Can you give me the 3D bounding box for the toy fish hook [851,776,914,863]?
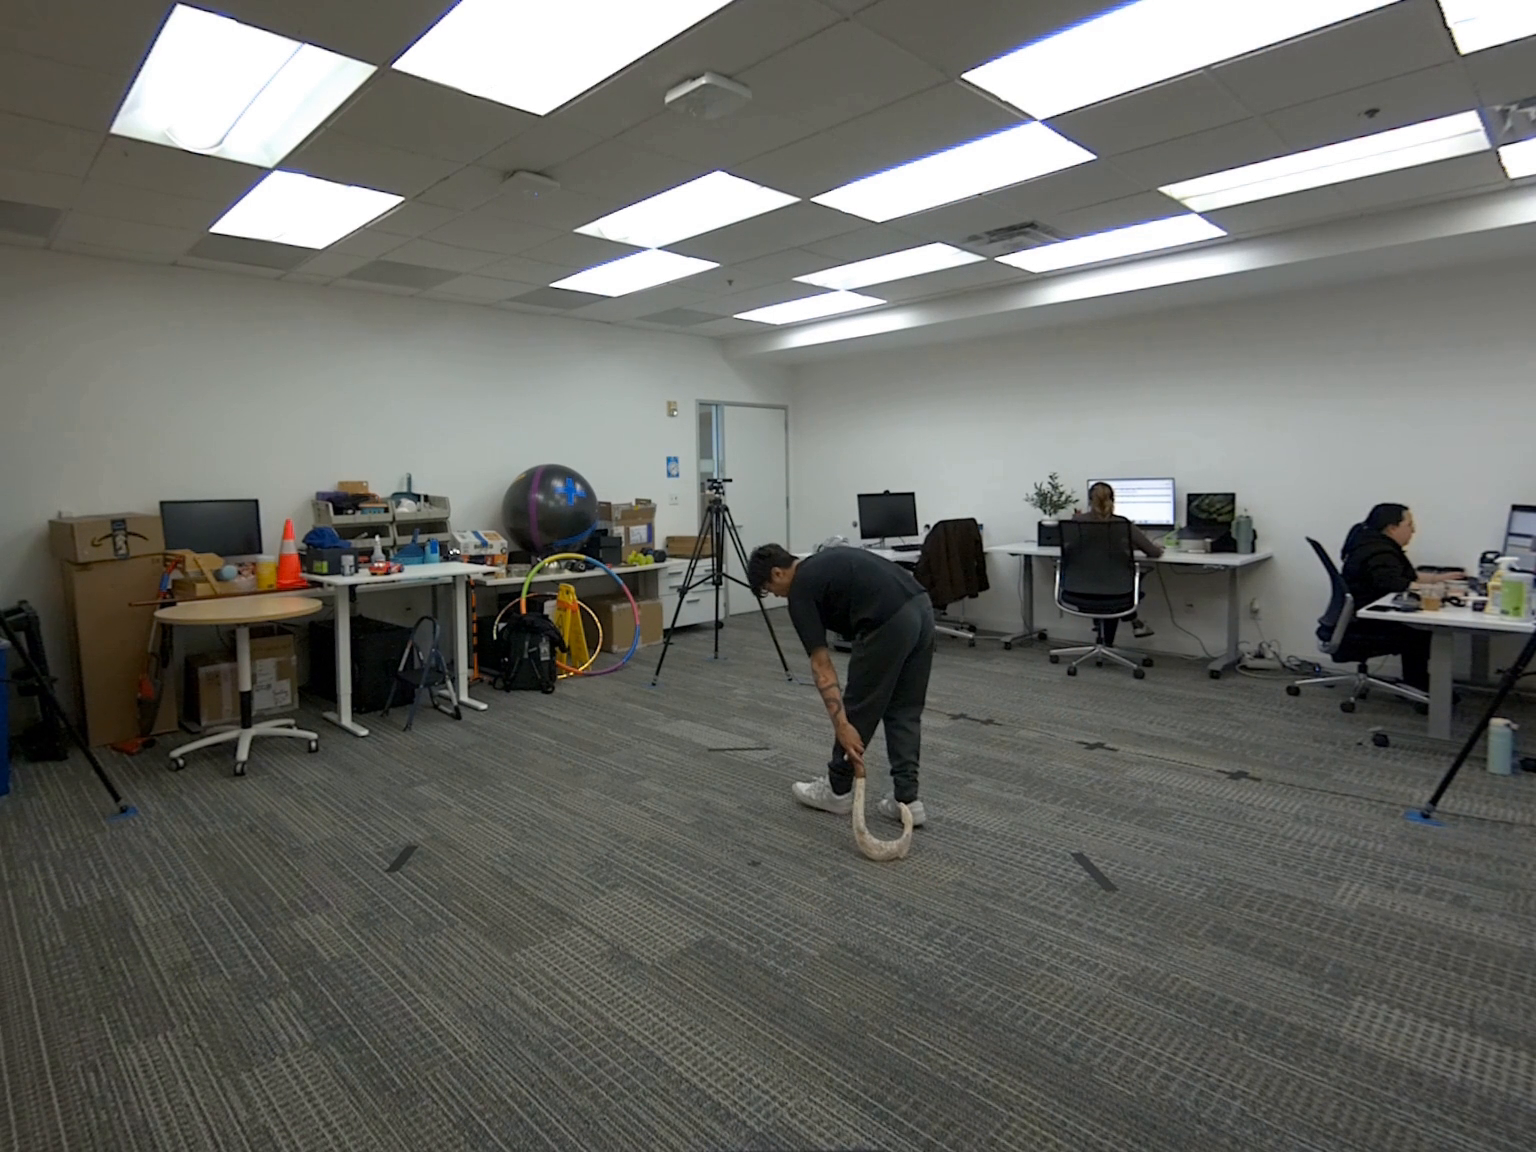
[{"bbox_3d":[0.406,0.824,3.258,0.224,0.521,0.047,-8,-34,-3],"label":"toy fish hook"}]
